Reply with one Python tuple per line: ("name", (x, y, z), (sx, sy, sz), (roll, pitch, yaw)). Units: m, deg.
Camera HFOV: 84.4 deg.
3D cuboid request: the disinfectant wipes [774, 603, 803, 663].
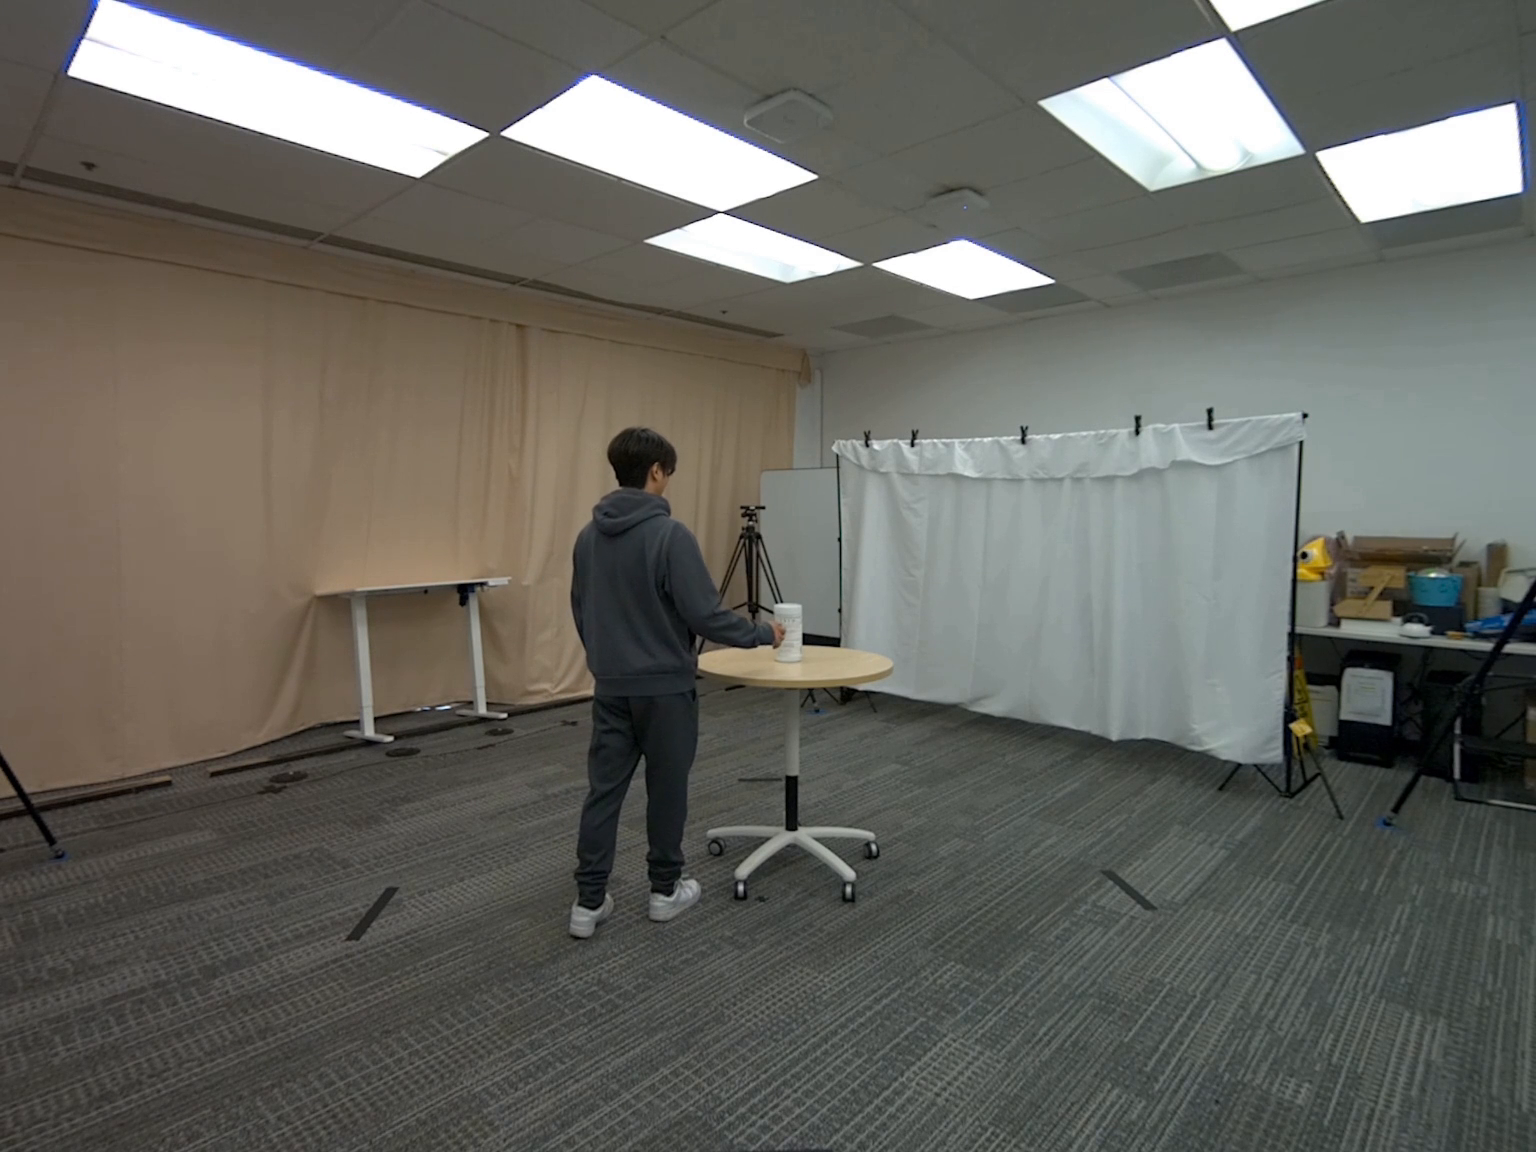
("disinfectant wipes", (0.083, 0.218, 3.239), (0.118, 0.217, 0.118), (-1, 2, -2))
